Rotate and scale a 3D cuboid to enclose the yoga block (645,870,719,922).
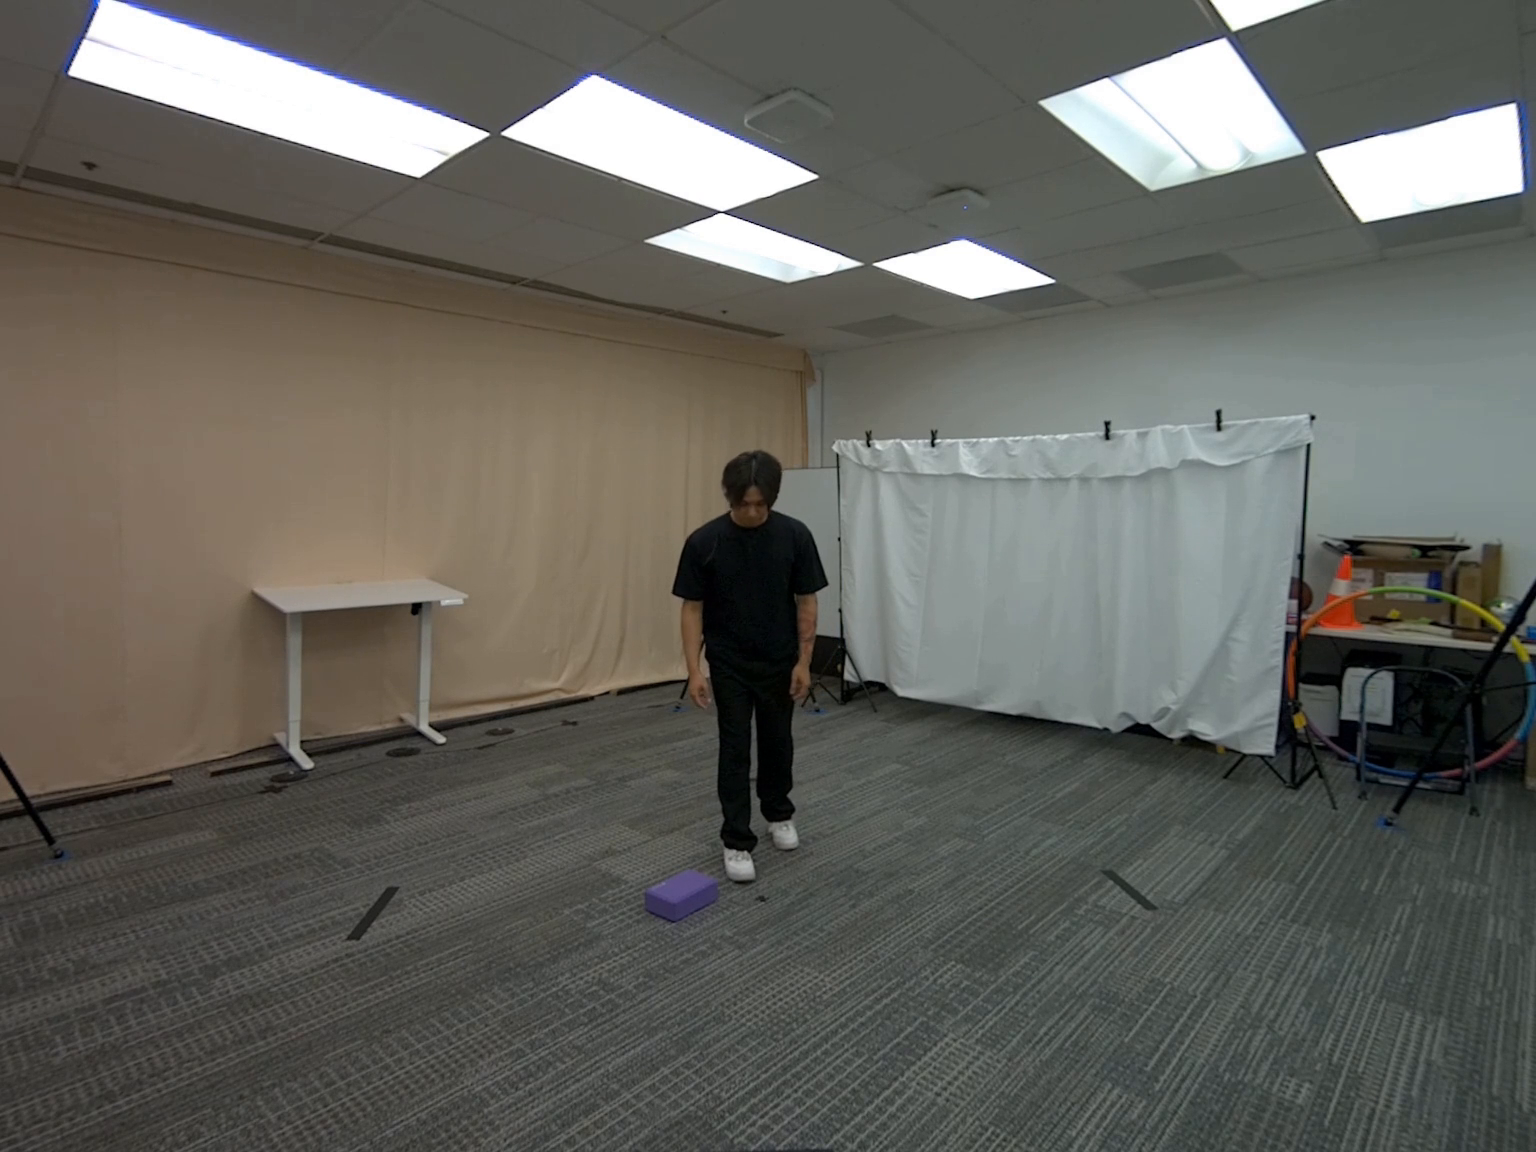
[{"bbox_3d":[-0.298,1.109,2.933,0.154,0.076,0.222,3,6,38],"label":"yoga block"}]
